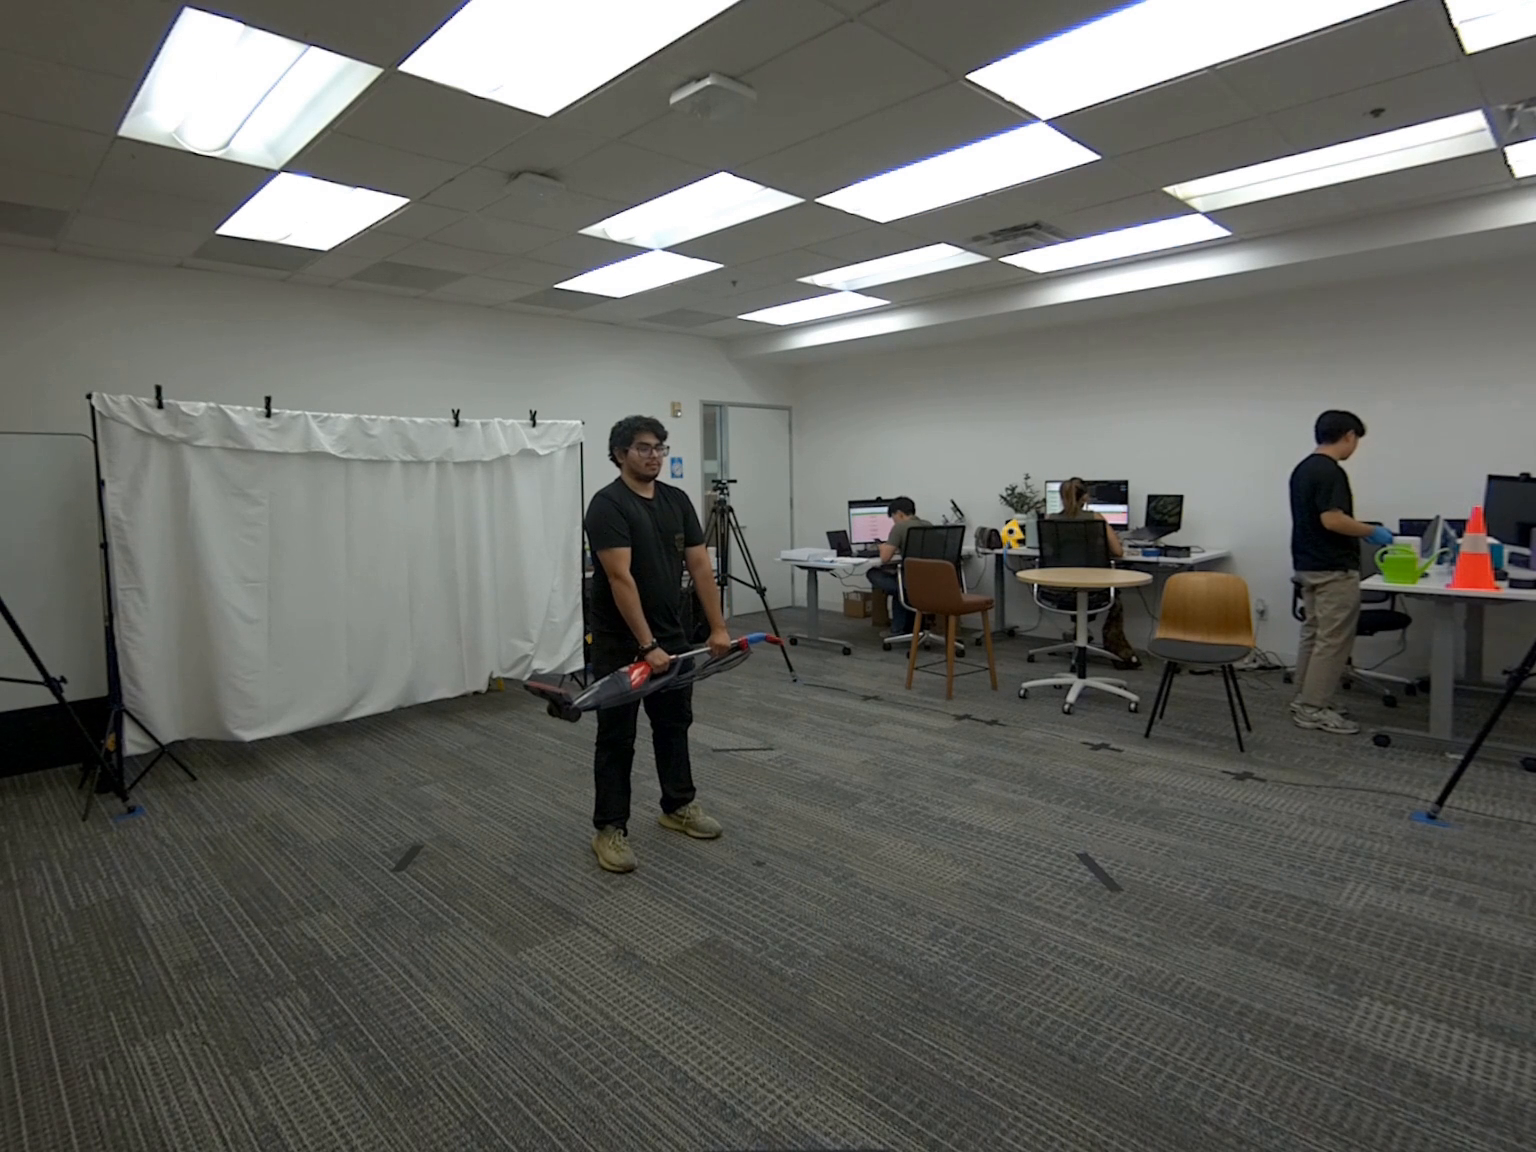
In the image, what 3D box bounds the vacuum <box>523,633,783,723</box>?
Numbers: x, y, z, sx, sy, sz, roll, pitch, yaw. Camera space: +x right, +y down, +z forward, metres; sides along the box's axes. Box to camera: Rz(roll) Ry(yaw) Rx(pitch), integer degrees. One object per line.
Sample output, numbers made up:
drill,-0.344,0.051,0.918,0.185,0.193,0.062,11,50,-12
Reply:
vacuum,-0.312,0.343,3.090,1.024,0.144,0.259,-10,5,-41
